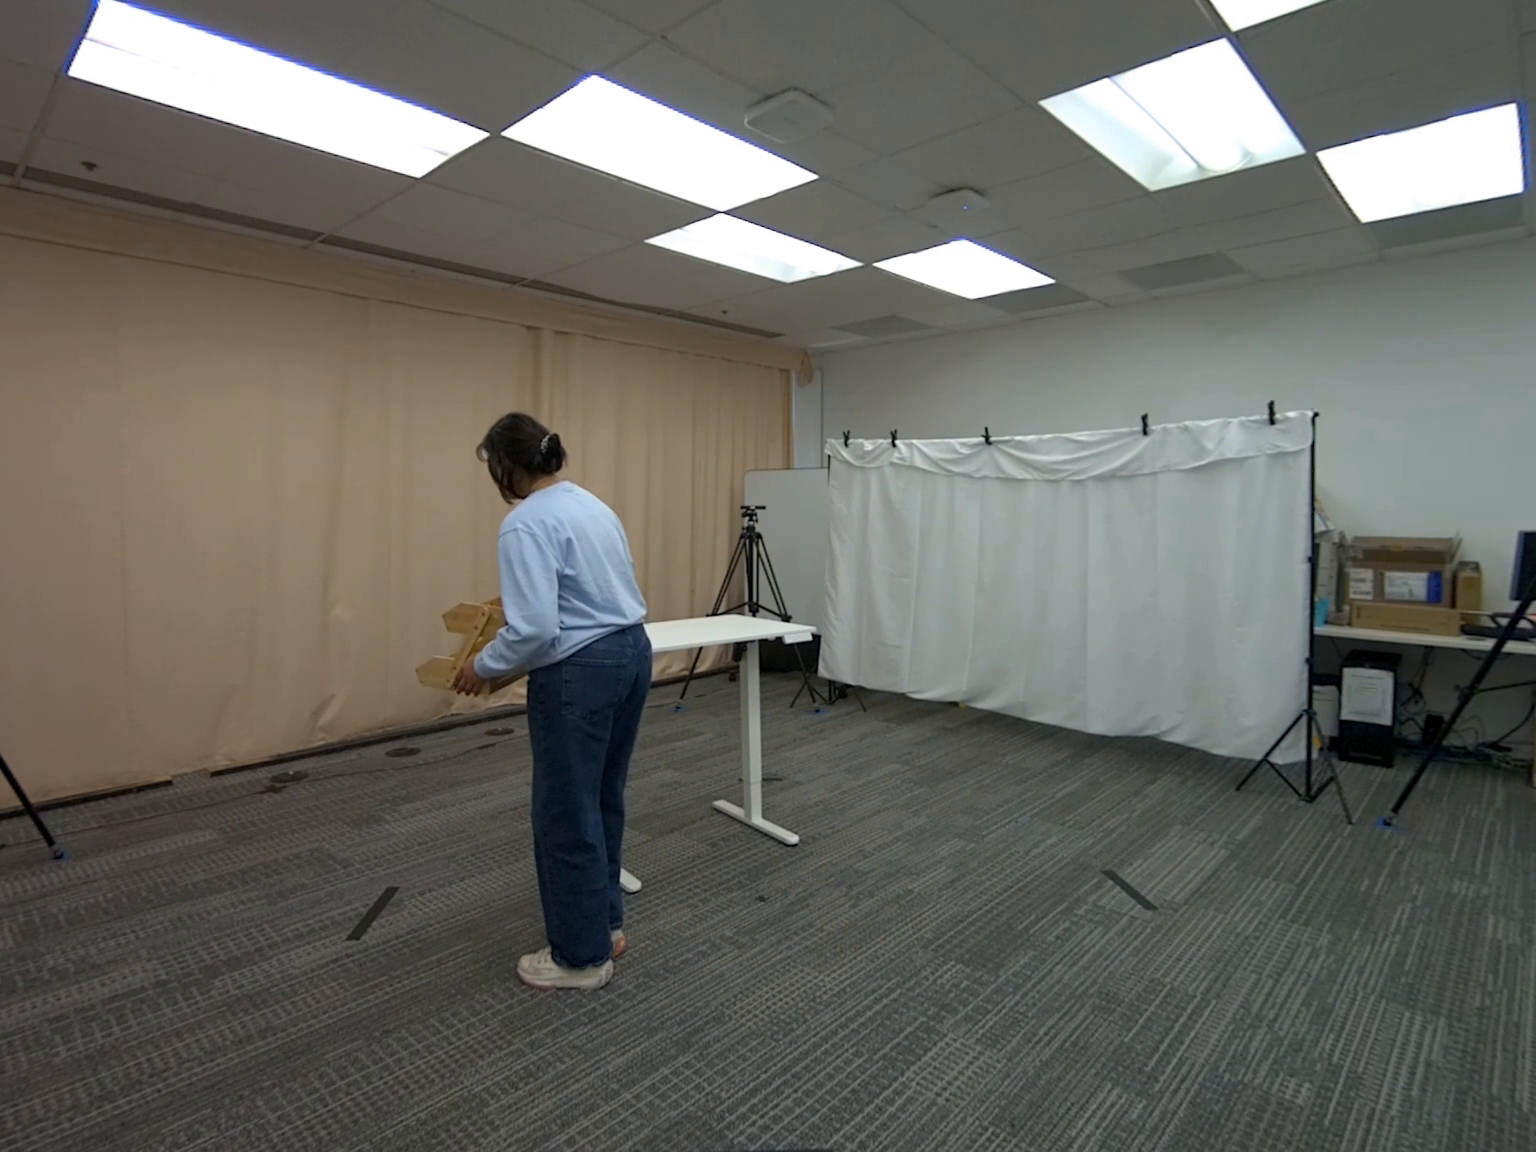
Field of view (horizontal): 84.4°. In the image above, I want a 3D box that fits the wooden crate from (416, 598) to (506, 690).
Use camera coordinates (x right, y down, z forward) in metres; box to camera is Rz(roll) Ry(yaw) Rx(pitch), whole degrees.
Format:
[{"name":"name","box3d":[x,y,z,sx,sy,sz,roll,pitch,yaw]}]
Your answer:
[{"name":"wooden crate","box3d":[-0.843,0.183,2.539,0.306,0.272,0.321,6,10,12]}]
